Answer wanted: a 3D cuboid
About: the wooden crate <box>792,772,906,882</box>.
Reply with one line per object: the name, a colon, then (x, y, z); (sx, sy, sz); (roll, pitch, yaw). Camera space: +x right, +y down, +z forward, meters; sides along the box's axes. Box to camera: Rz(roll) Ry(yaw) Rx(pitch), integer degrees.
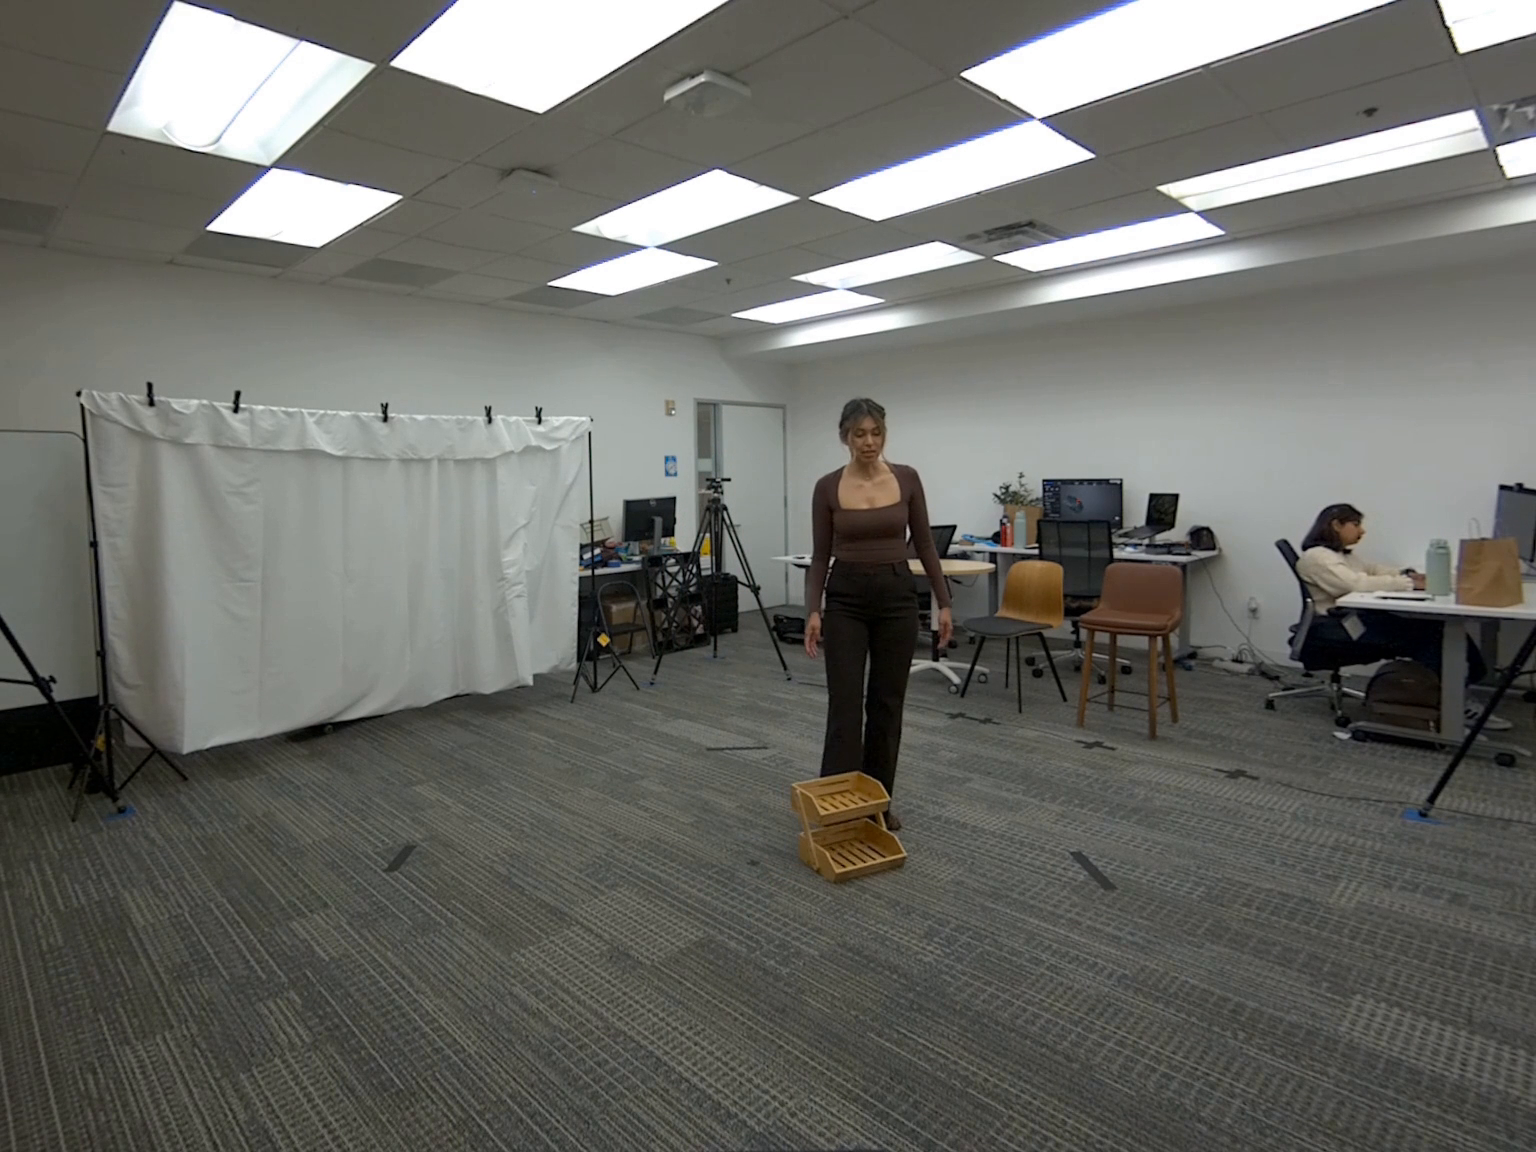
wooden crate: (0.298, 0.906, 3.097); (0.317, 0.272, 0.310); (-3, 5, -27)
